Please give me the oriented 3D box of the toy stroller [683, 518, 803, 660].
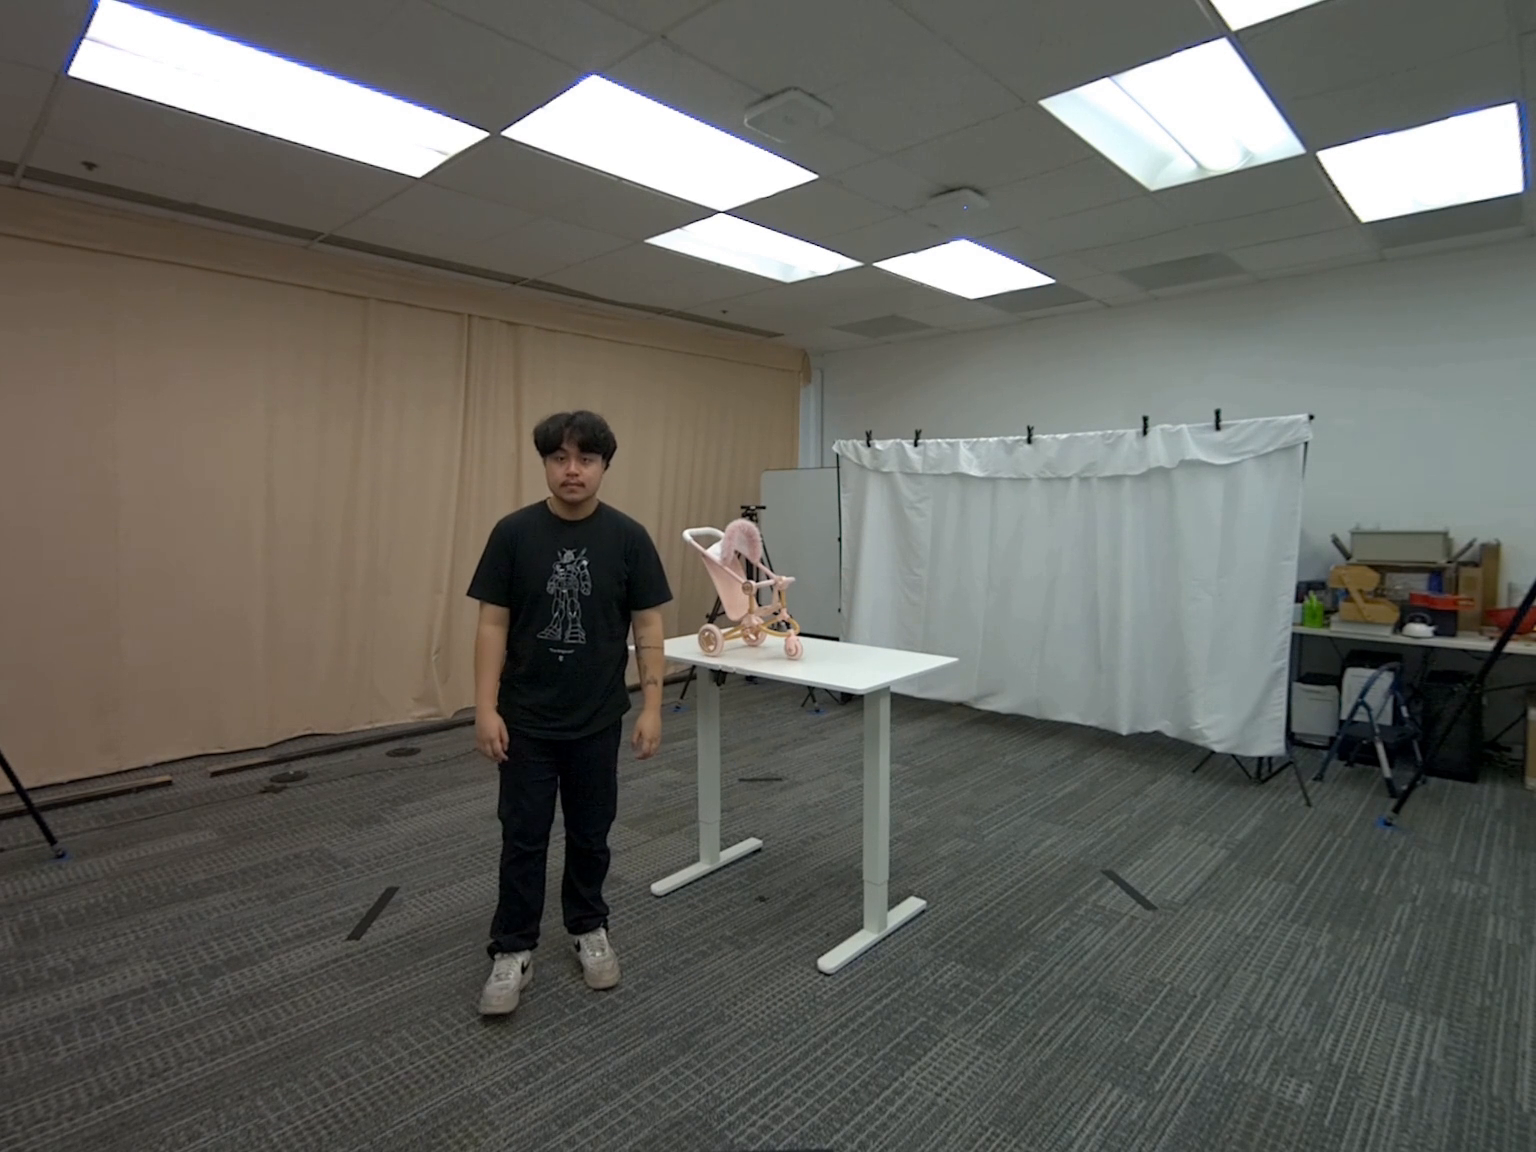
[{"bbox_3d":[-0.068,0.046,2.896,0.350,0.538,0.273,-18,-9,41],"label":"toy stroller"}]
